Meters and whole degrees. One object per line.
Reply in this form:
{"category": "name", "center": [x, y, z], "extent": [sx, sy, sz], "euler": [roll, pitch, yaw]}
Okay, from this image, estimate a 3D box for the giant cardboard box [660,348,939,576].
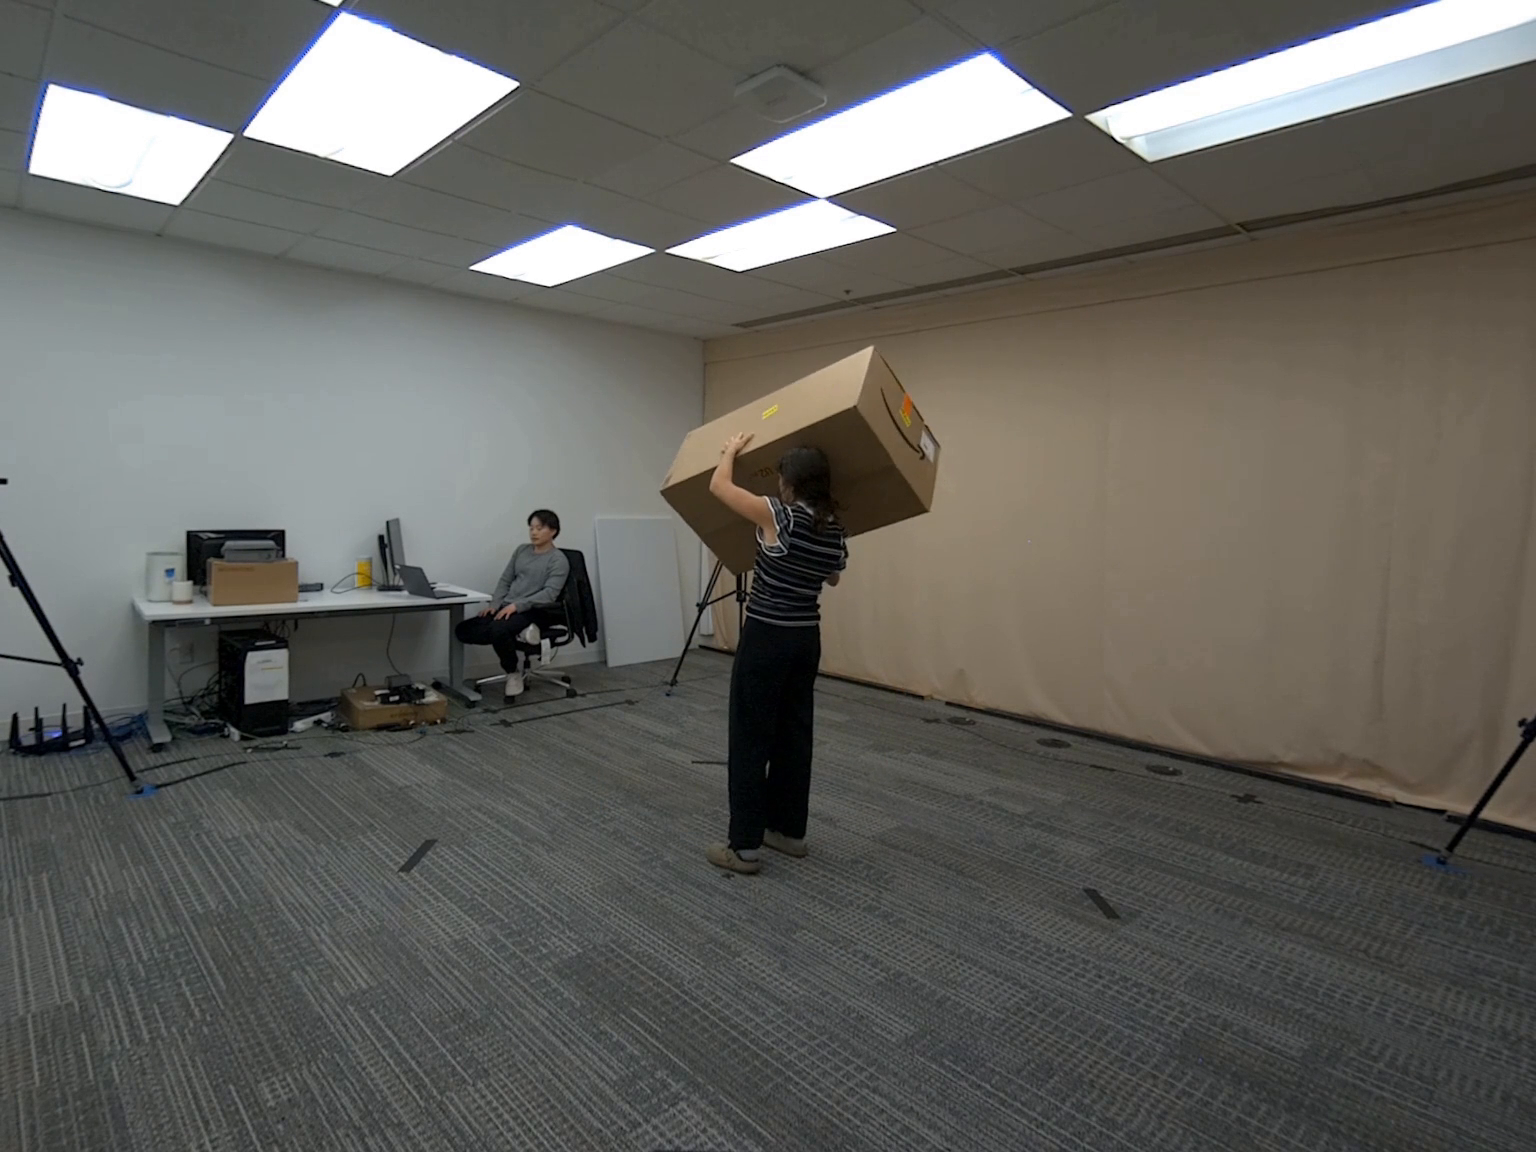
{"category": "giant cardboard box", "center": [0.119, -0.461, 3.641], "extent": [1.040, 0.431, 0.562], "euler": [-18, -54, 36]}
